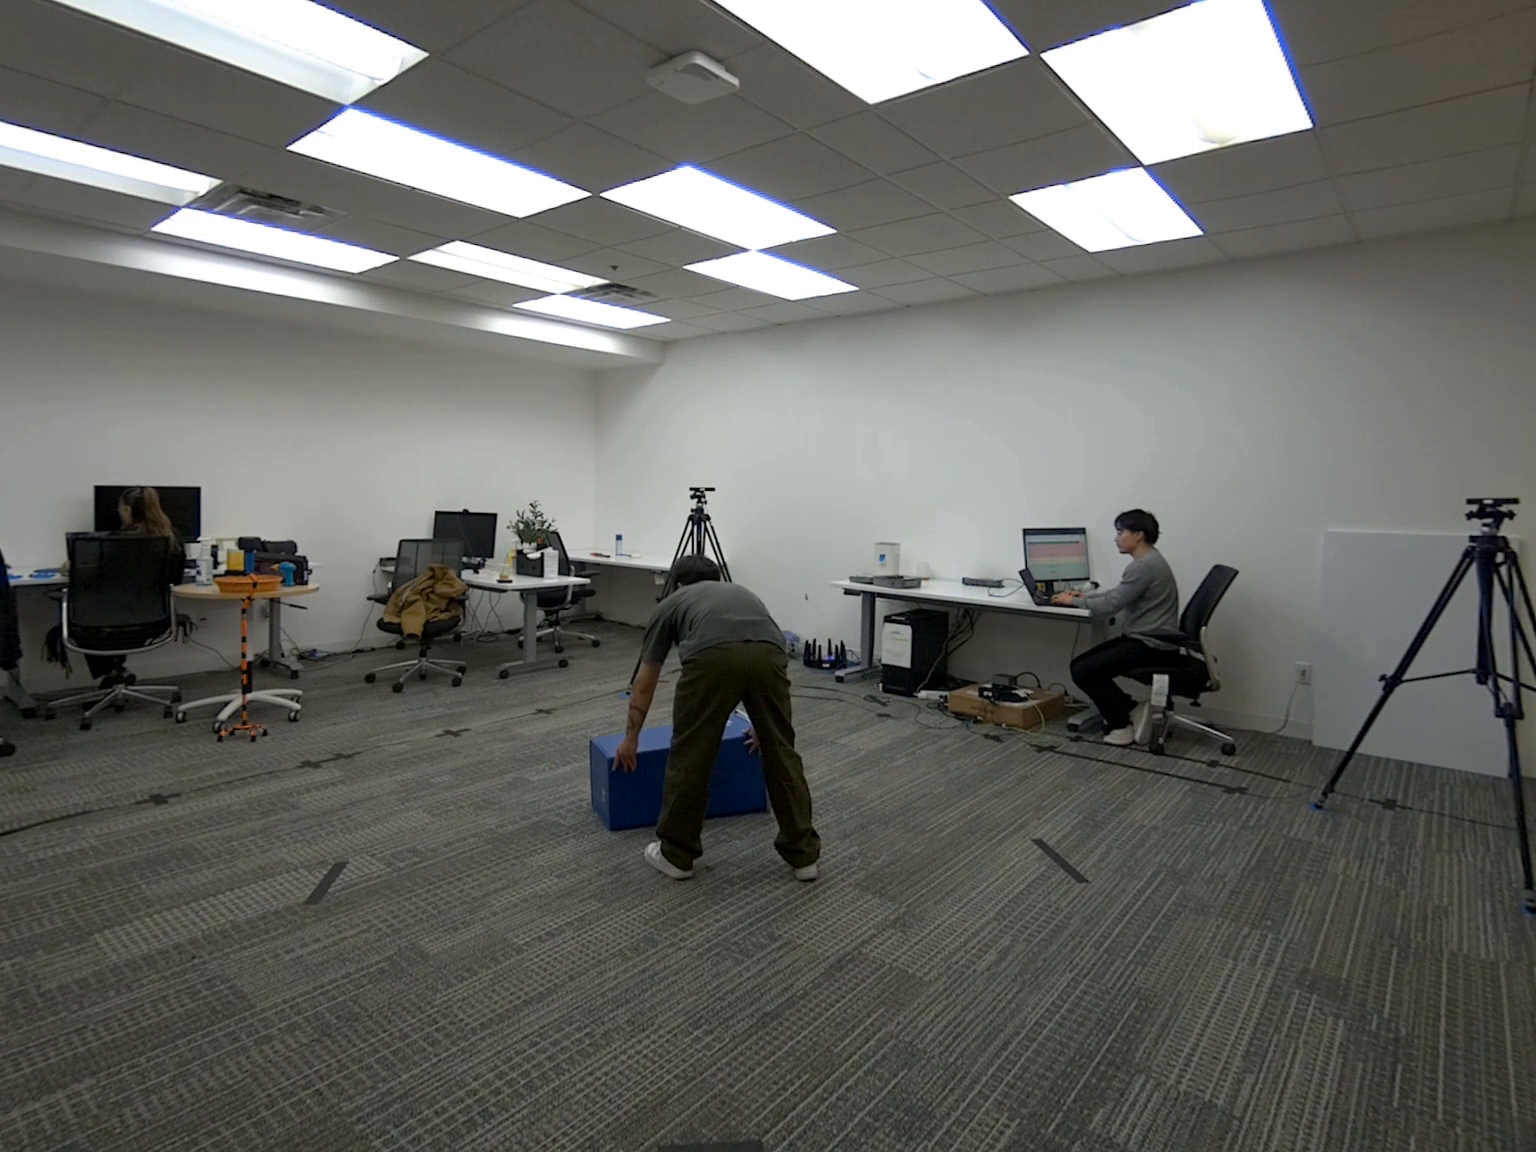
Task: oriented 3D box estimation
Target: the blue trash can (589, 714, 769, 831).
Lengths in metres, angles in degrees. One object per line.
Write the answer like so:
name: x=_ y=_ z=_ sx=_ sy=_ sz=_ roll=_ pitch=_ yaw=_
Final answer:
blue trash can: x=-0.398 y=0.832 z=3.679 sx=0.698 sy=0.372 sz=0.388 roll=-3 pitch=7 yaw=-24
